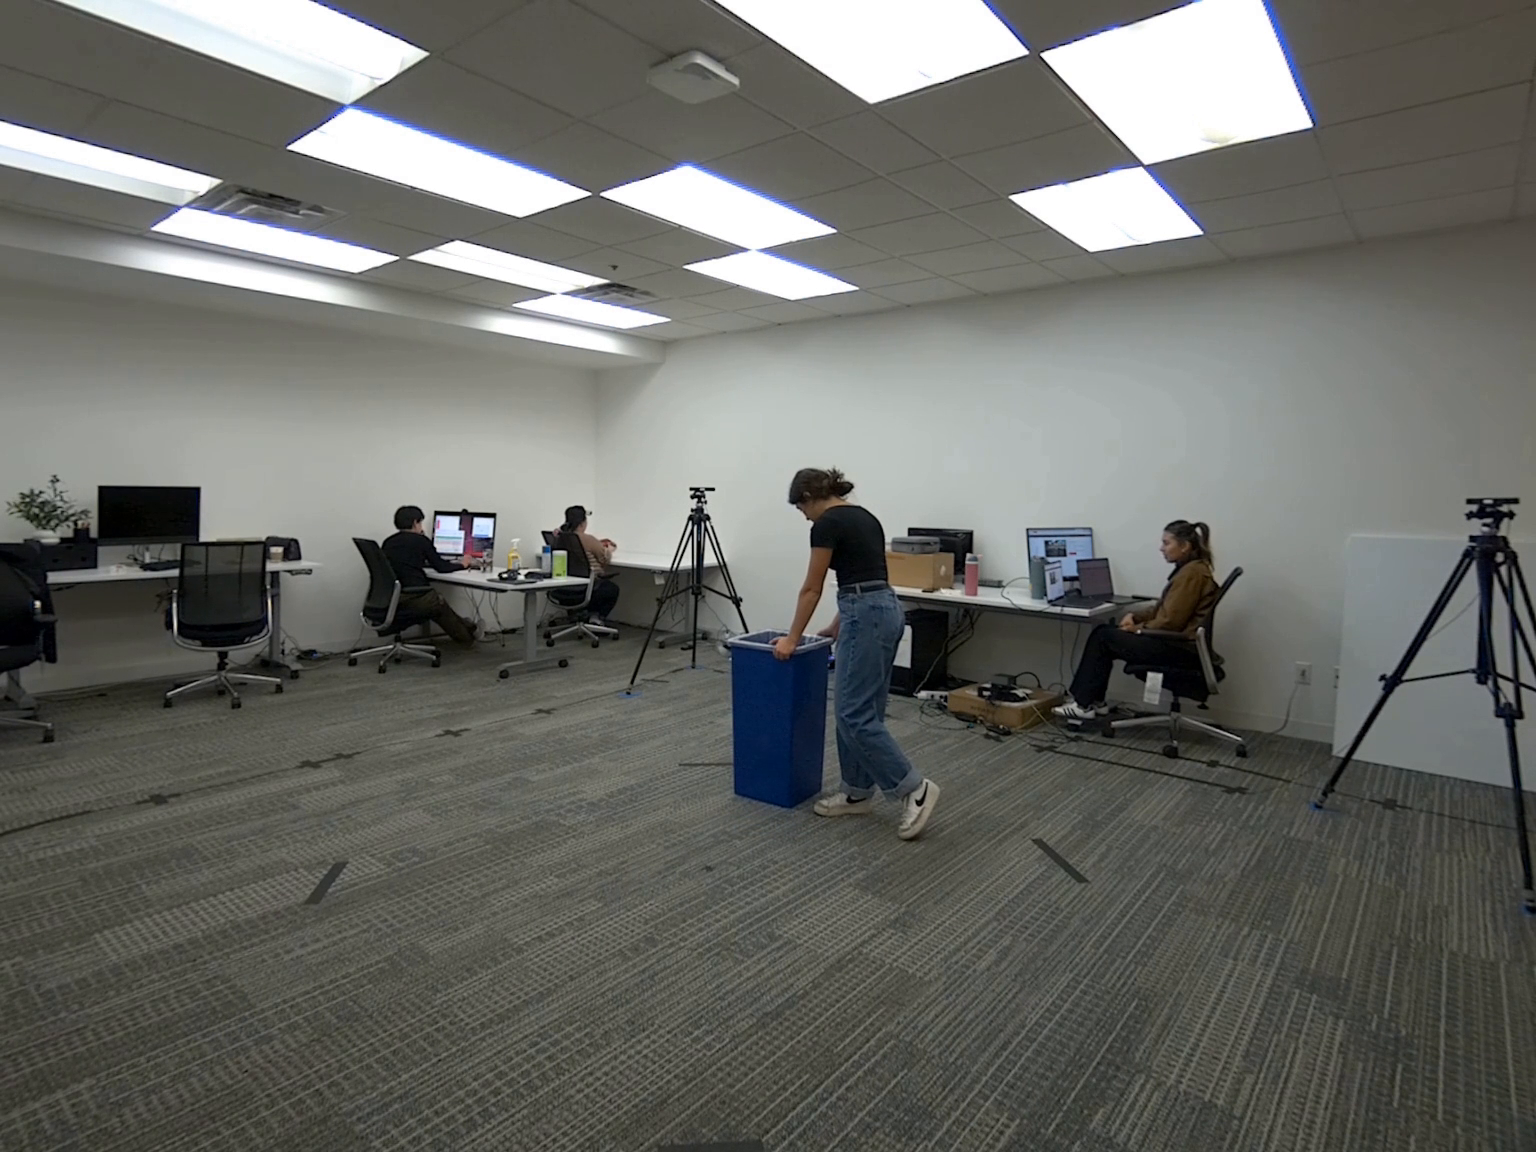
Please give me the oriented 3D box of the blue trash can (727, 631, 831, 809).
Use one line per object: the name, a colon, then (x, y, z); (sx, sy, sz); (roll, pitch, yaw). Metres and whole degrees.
blue trash can: (0.043, 0.636, 3.896); (0.390, 0.712, 0.363); (3, 3, 34)
